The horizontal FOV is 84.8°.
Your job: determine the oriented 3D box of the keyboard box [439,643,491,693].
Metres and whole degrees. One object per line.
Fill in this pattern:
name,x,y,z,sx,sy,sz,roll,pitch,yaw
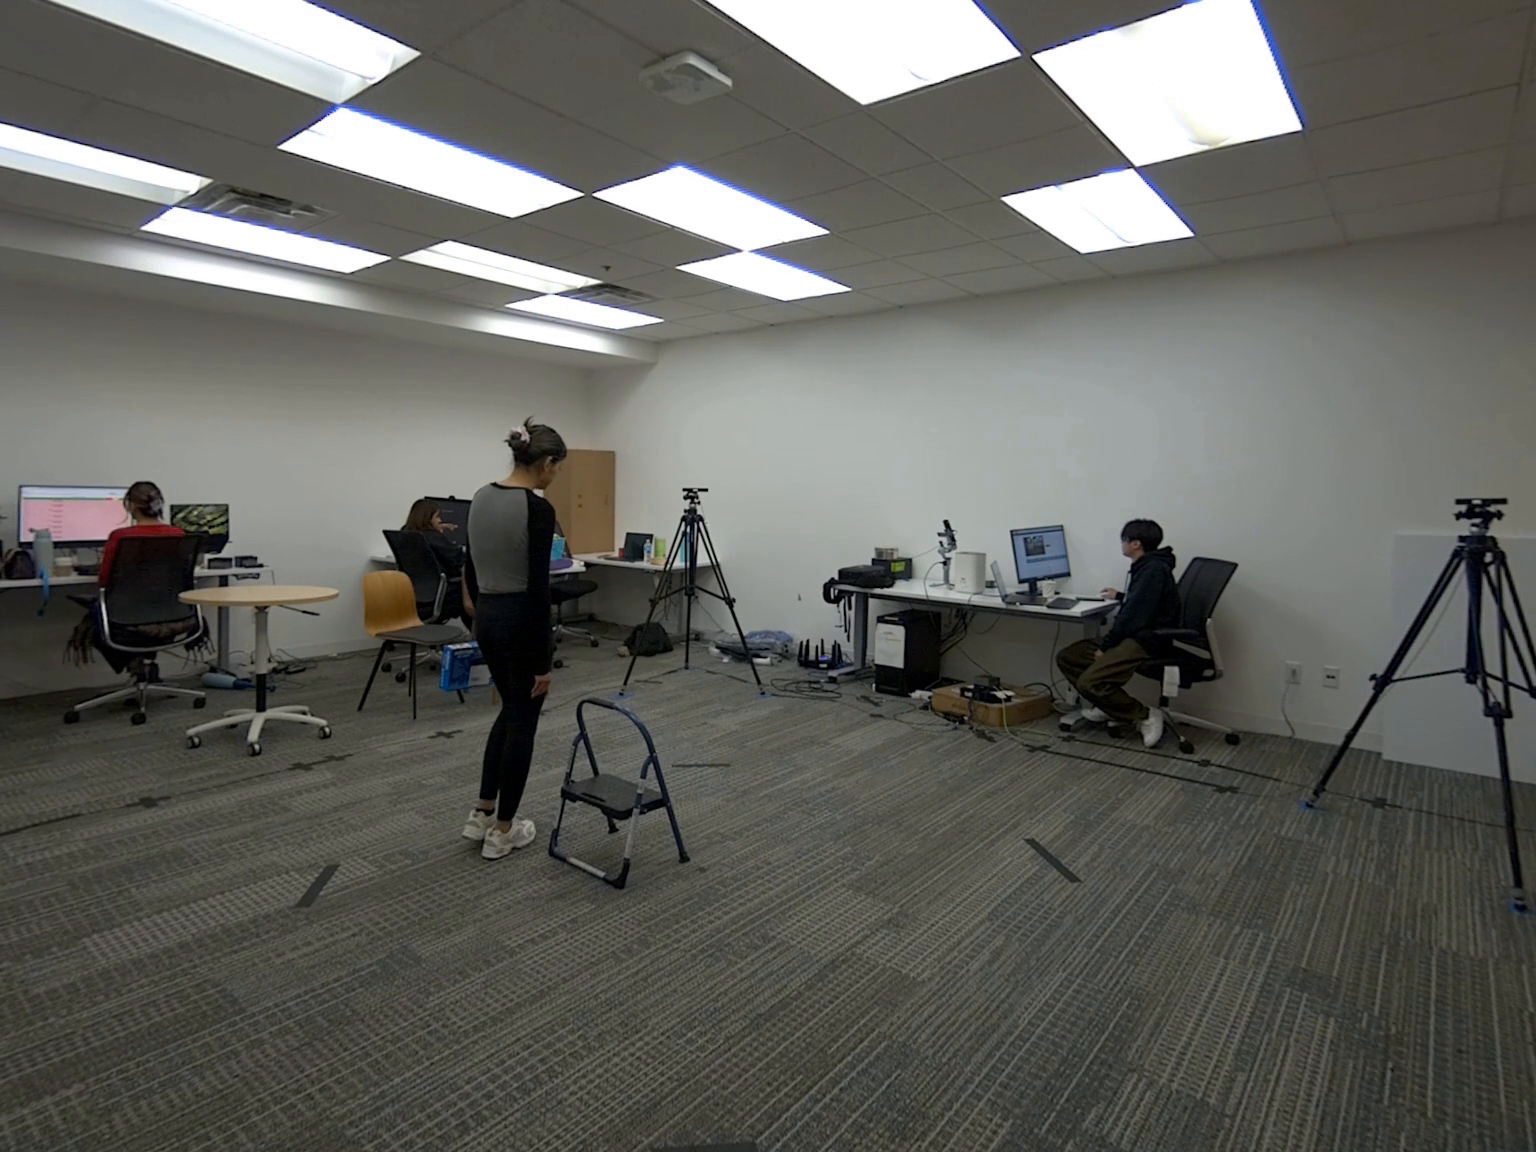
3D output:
keyboard box,-1.146,0.357,3.488,0.061,0.175,0.424,11,8,35
